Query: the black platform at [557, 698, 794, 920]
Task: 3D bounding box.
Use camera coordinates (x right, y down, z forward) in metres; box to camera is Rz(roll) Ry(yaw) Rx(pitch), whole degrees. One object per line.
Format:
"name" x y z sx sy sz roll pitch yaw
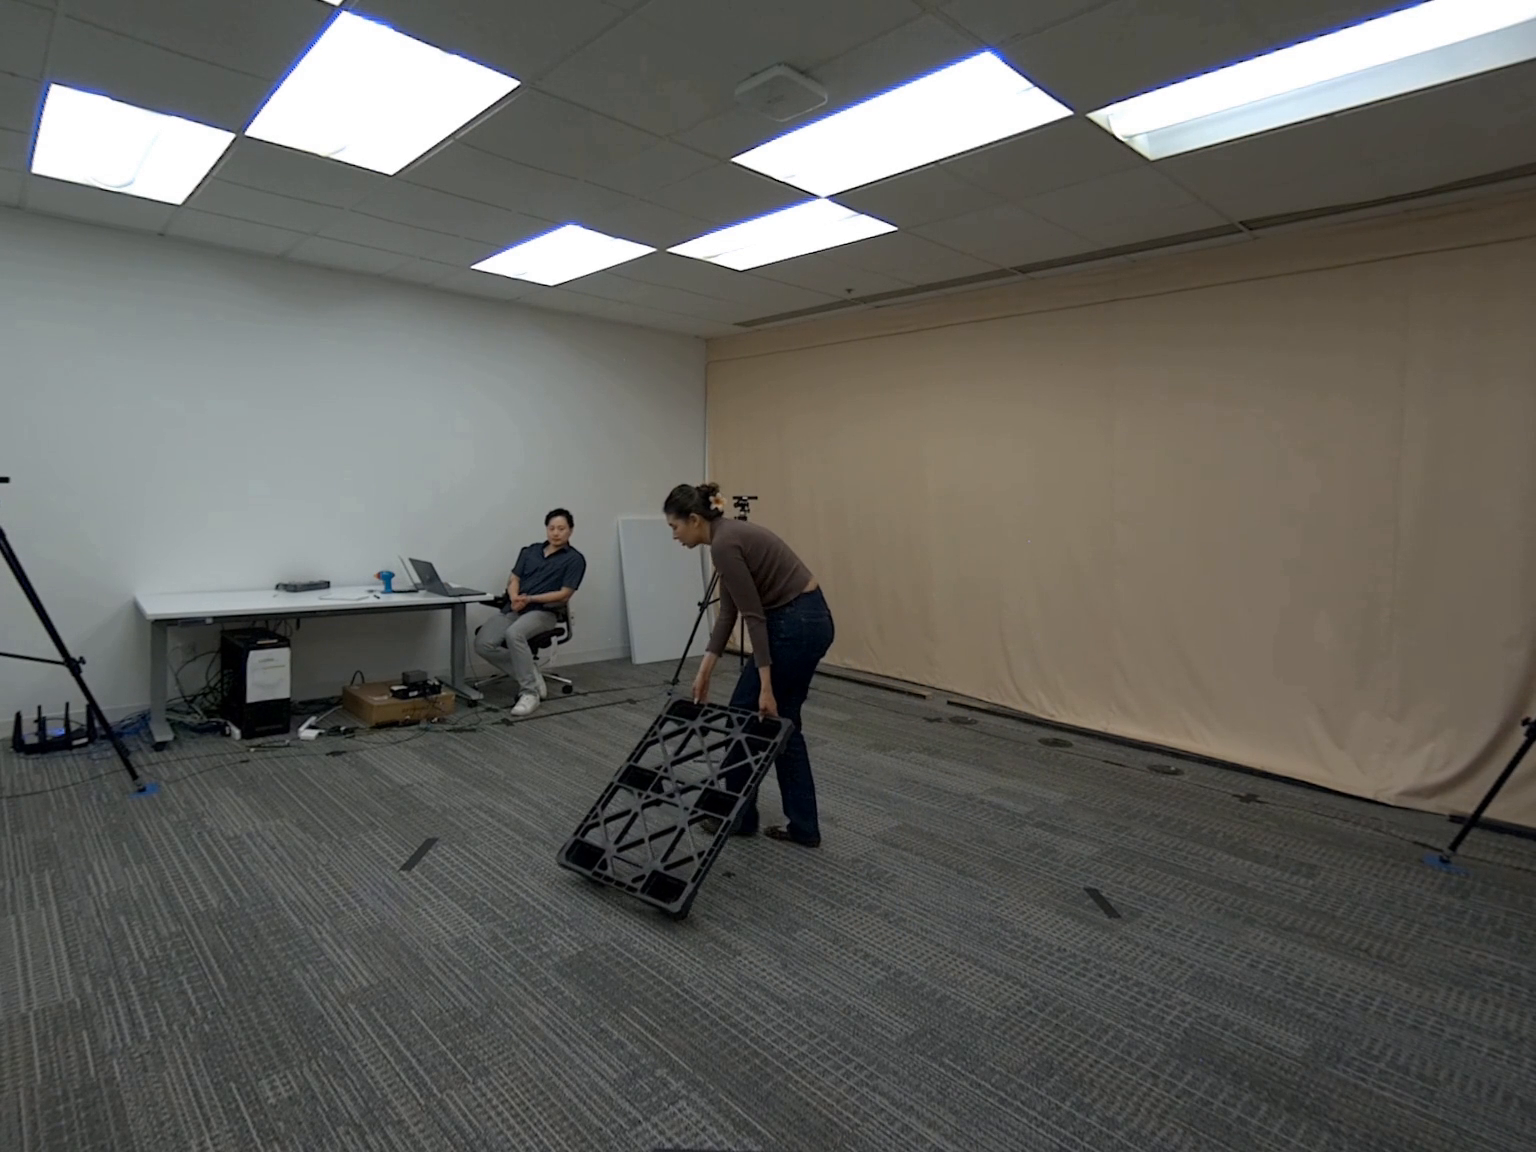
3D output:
"black platform" -0.320 0.823 3.087 0.620 0.139 0.808 4 44 36
